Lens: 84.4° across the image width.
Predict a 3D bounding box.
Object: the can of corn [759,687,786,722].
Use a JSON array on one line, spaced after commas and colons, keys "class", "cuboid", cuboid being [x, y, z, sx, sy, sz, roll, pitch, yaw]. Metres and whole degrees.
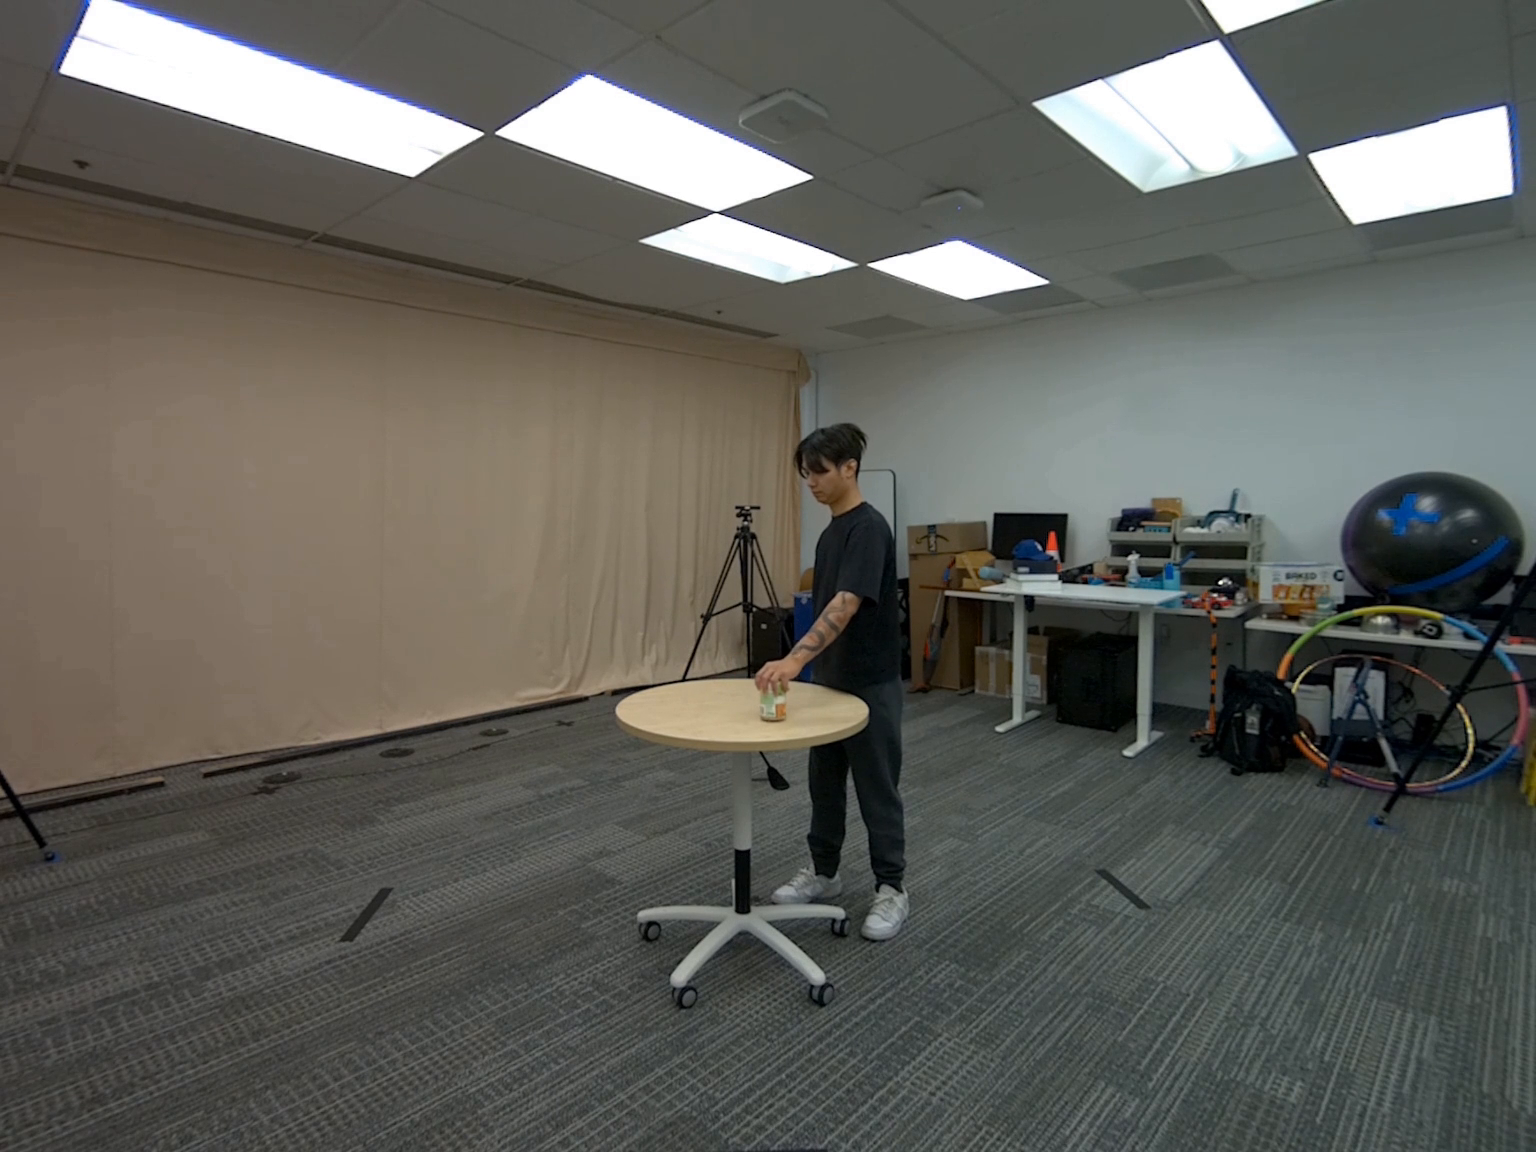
[{"class": "can of corn", "cuboid": [0.016, 0.348, 2.414, 0.074, 0.111, 0.074, 2, 0, -2]}]
